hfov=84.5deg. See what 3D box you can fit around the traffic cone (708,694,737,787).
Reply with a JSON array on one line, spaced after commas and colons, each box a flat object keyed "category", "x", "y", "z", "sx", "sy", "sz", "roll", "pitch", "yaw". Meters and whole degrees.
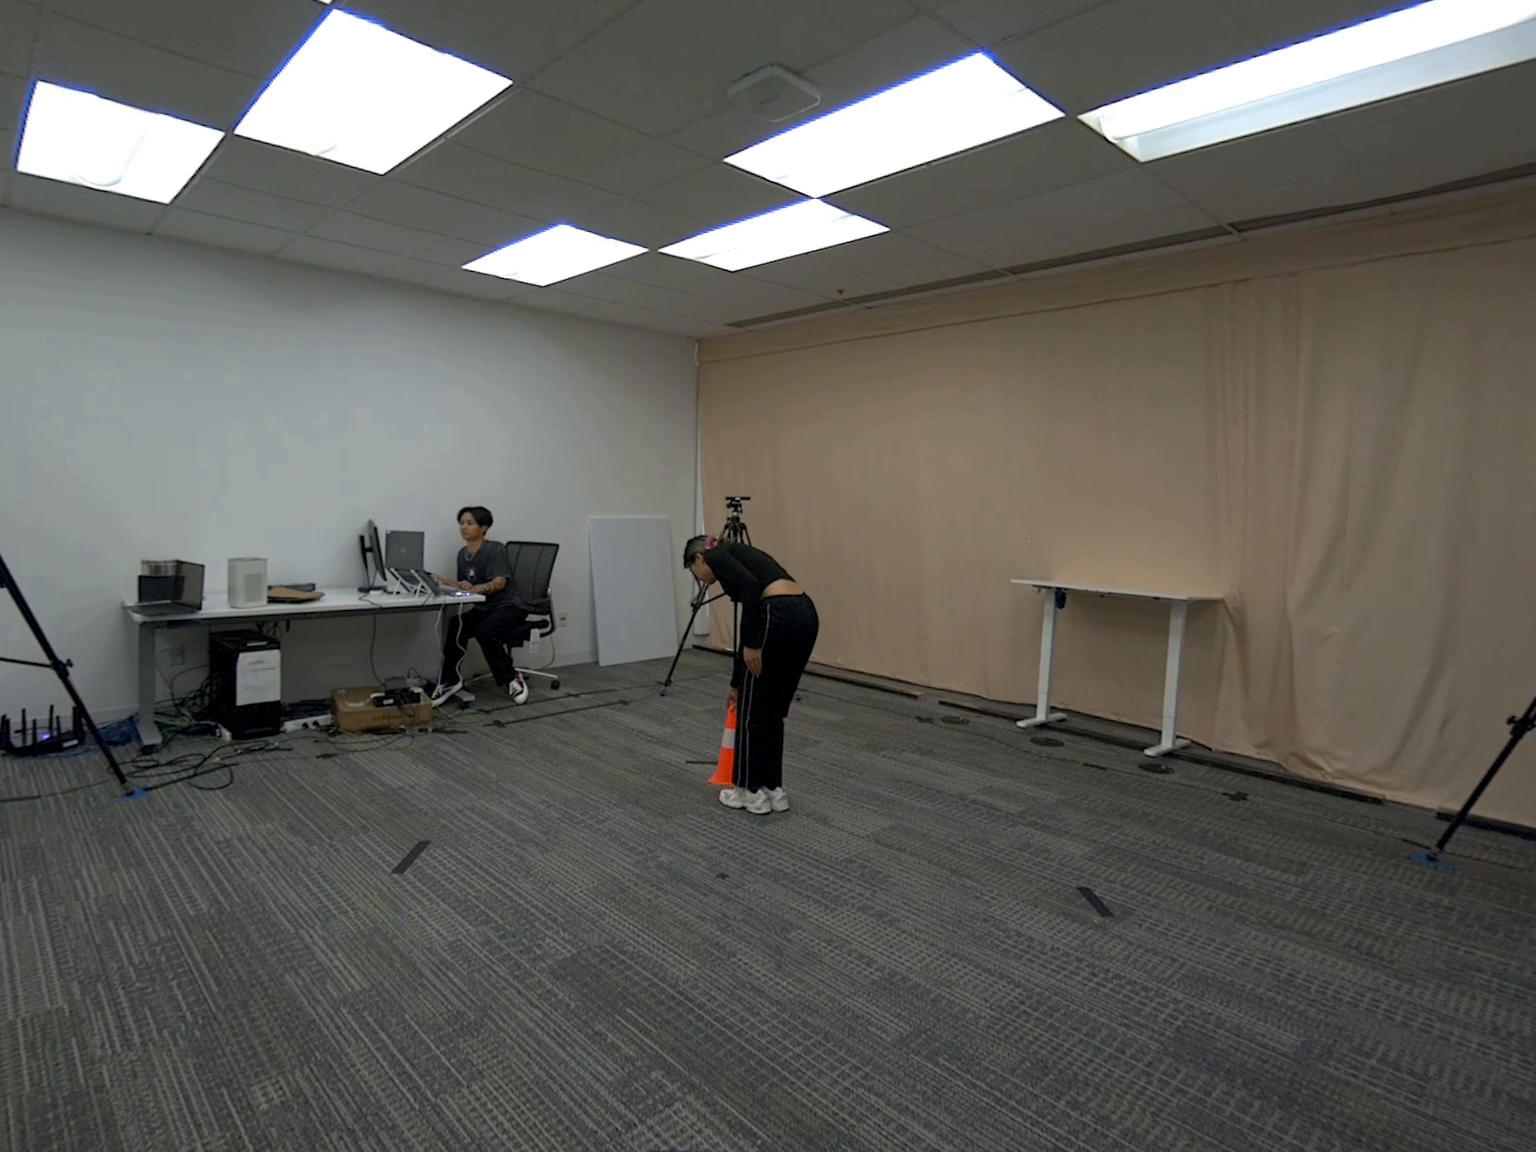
[{"category": "traffic cone", "x": -0.187, "y": 0.824, "z": 4.203, "sx": 0.205, "sy": 0.383, "sz": 0.203, "roll": 3, "pitch": 3, "yaw": 10}]
